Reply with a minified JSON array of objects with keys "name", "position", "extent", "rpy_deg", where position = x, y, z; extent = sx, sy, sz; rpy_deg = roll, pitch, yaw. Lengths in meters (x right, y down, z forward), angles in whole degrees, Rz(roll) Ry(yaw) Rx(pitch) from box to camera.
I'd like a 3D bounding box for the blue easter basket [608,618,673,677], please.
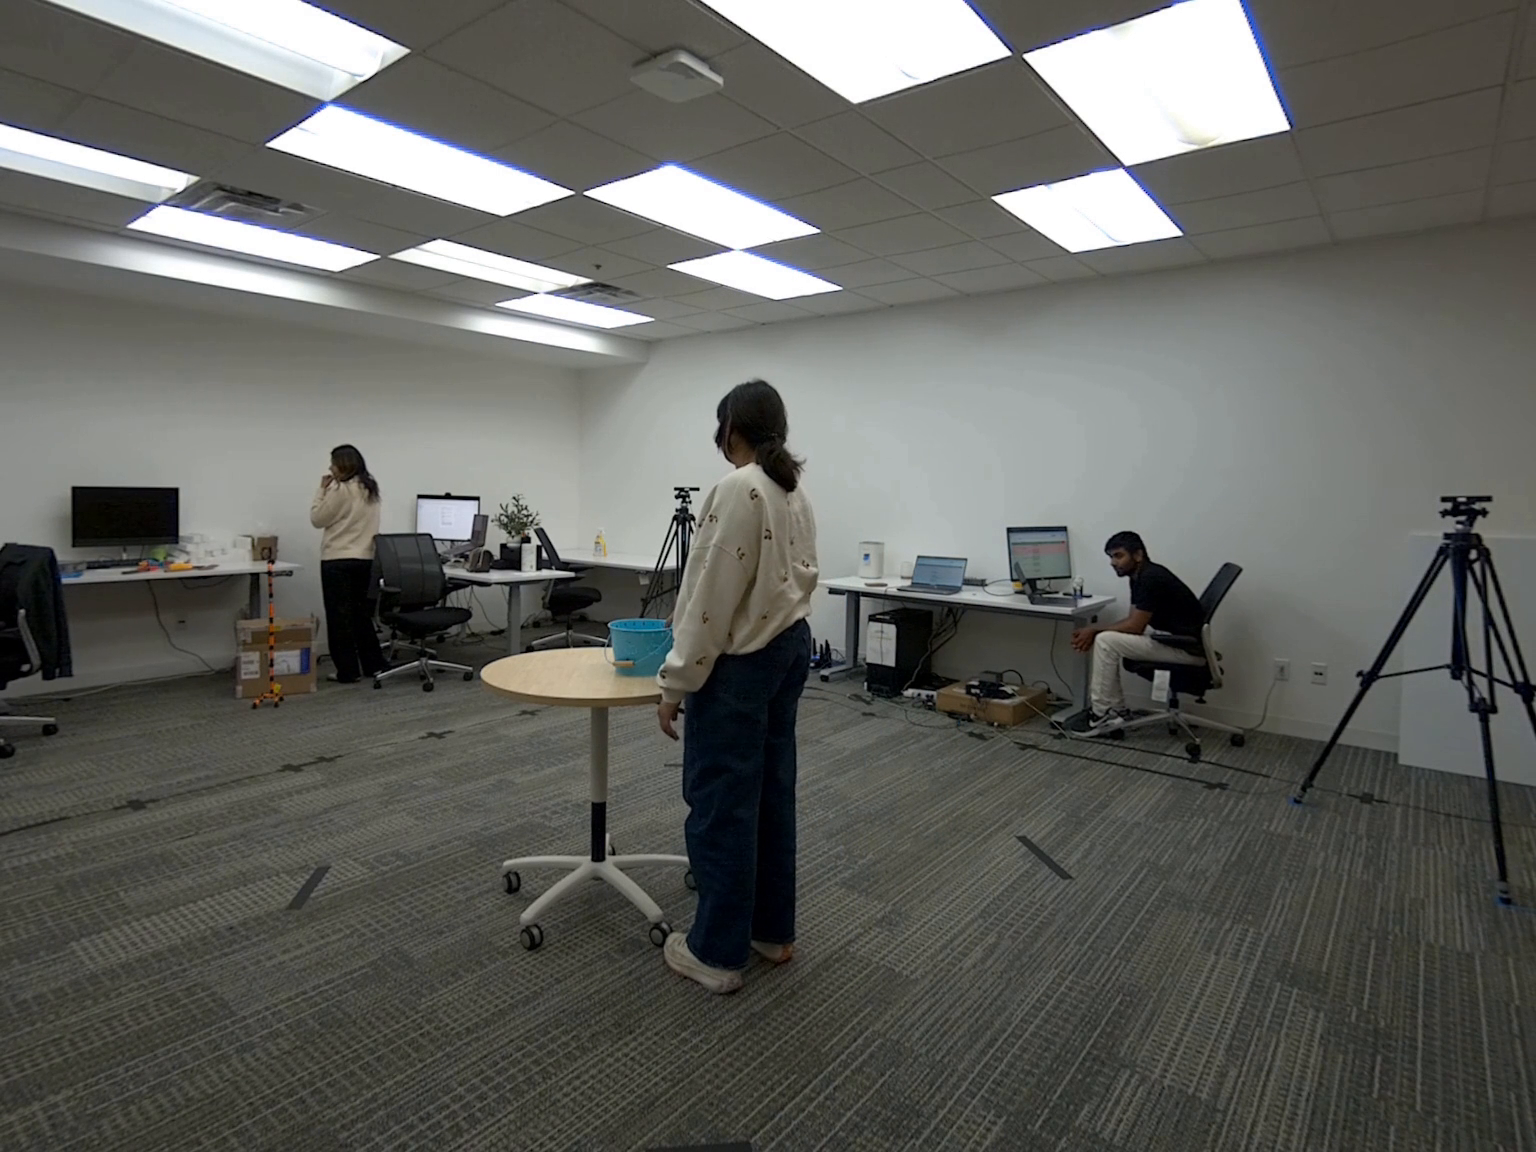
[{"name":"blue easter basket","position":[-0.435,0.238,2.810],"extent":[0.243,0.155,0.245],"rpy_deg":[1,5,-2]}]
